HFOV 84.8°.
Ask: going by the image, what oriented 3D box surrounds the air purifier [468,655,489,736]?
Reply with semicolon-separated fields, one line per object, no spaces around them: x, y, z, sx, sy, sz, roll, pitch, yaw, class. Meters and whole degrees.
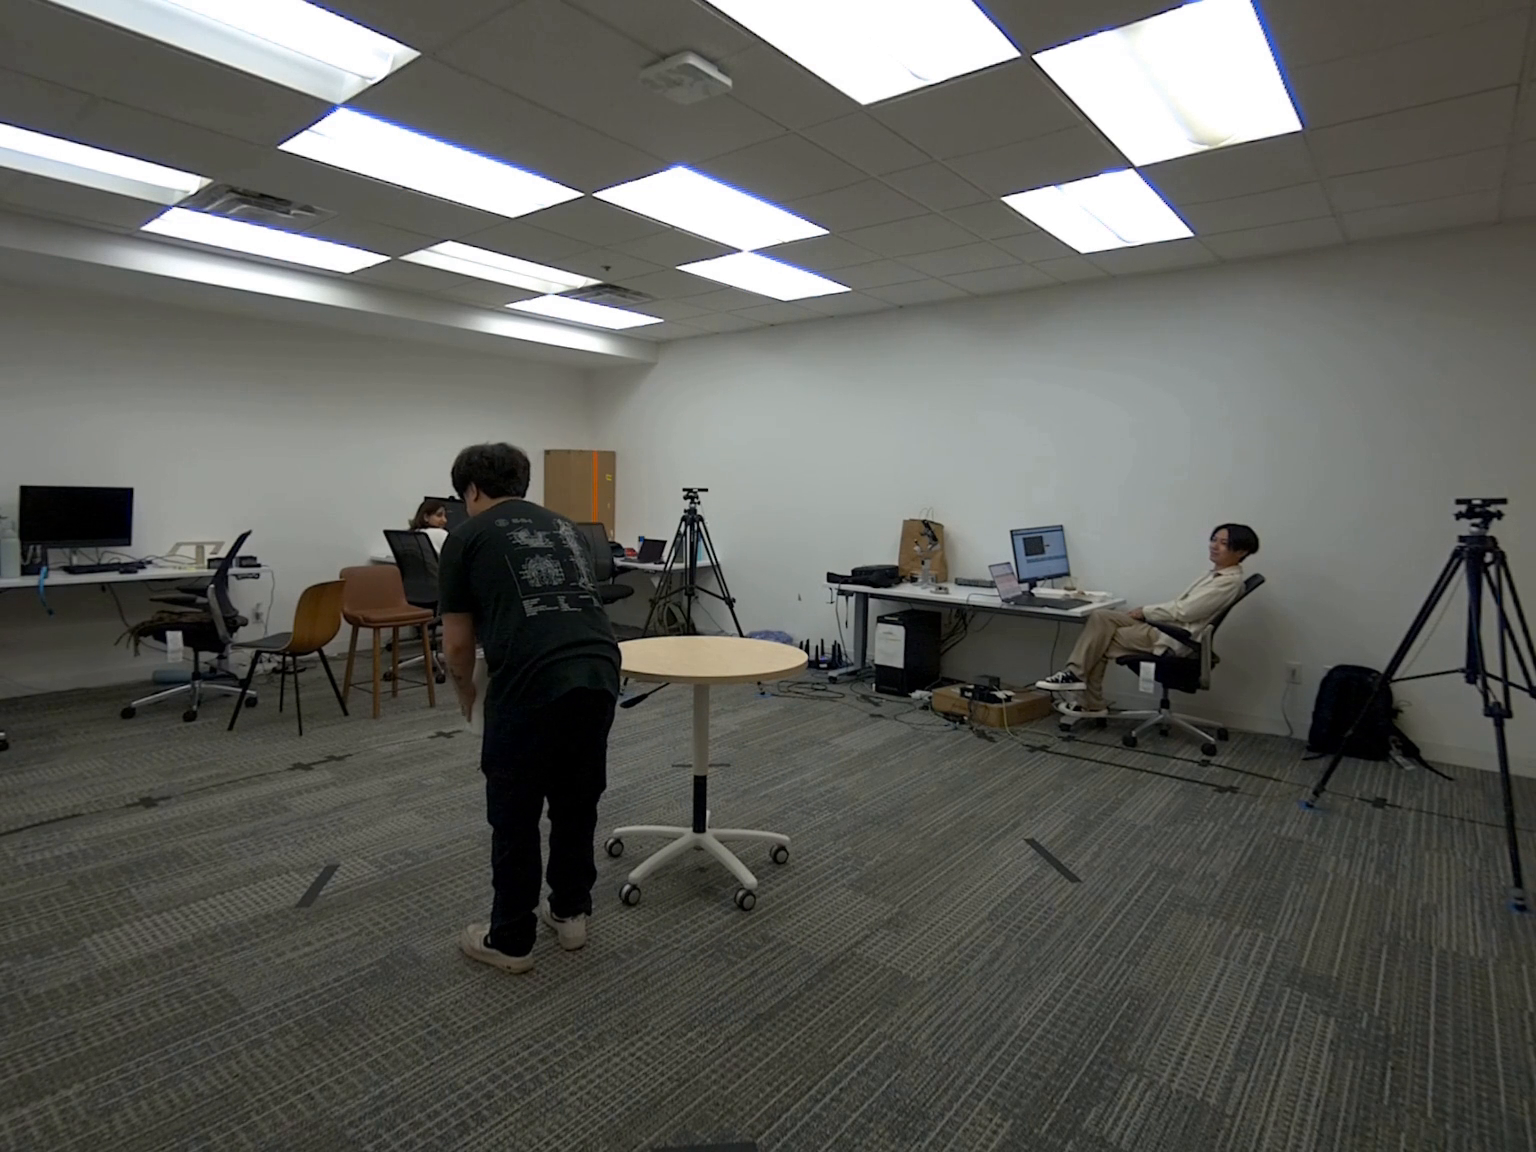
-0.898;0.382;2.764;0.166;0.265;0.176;-5;3;-33;air purifier
